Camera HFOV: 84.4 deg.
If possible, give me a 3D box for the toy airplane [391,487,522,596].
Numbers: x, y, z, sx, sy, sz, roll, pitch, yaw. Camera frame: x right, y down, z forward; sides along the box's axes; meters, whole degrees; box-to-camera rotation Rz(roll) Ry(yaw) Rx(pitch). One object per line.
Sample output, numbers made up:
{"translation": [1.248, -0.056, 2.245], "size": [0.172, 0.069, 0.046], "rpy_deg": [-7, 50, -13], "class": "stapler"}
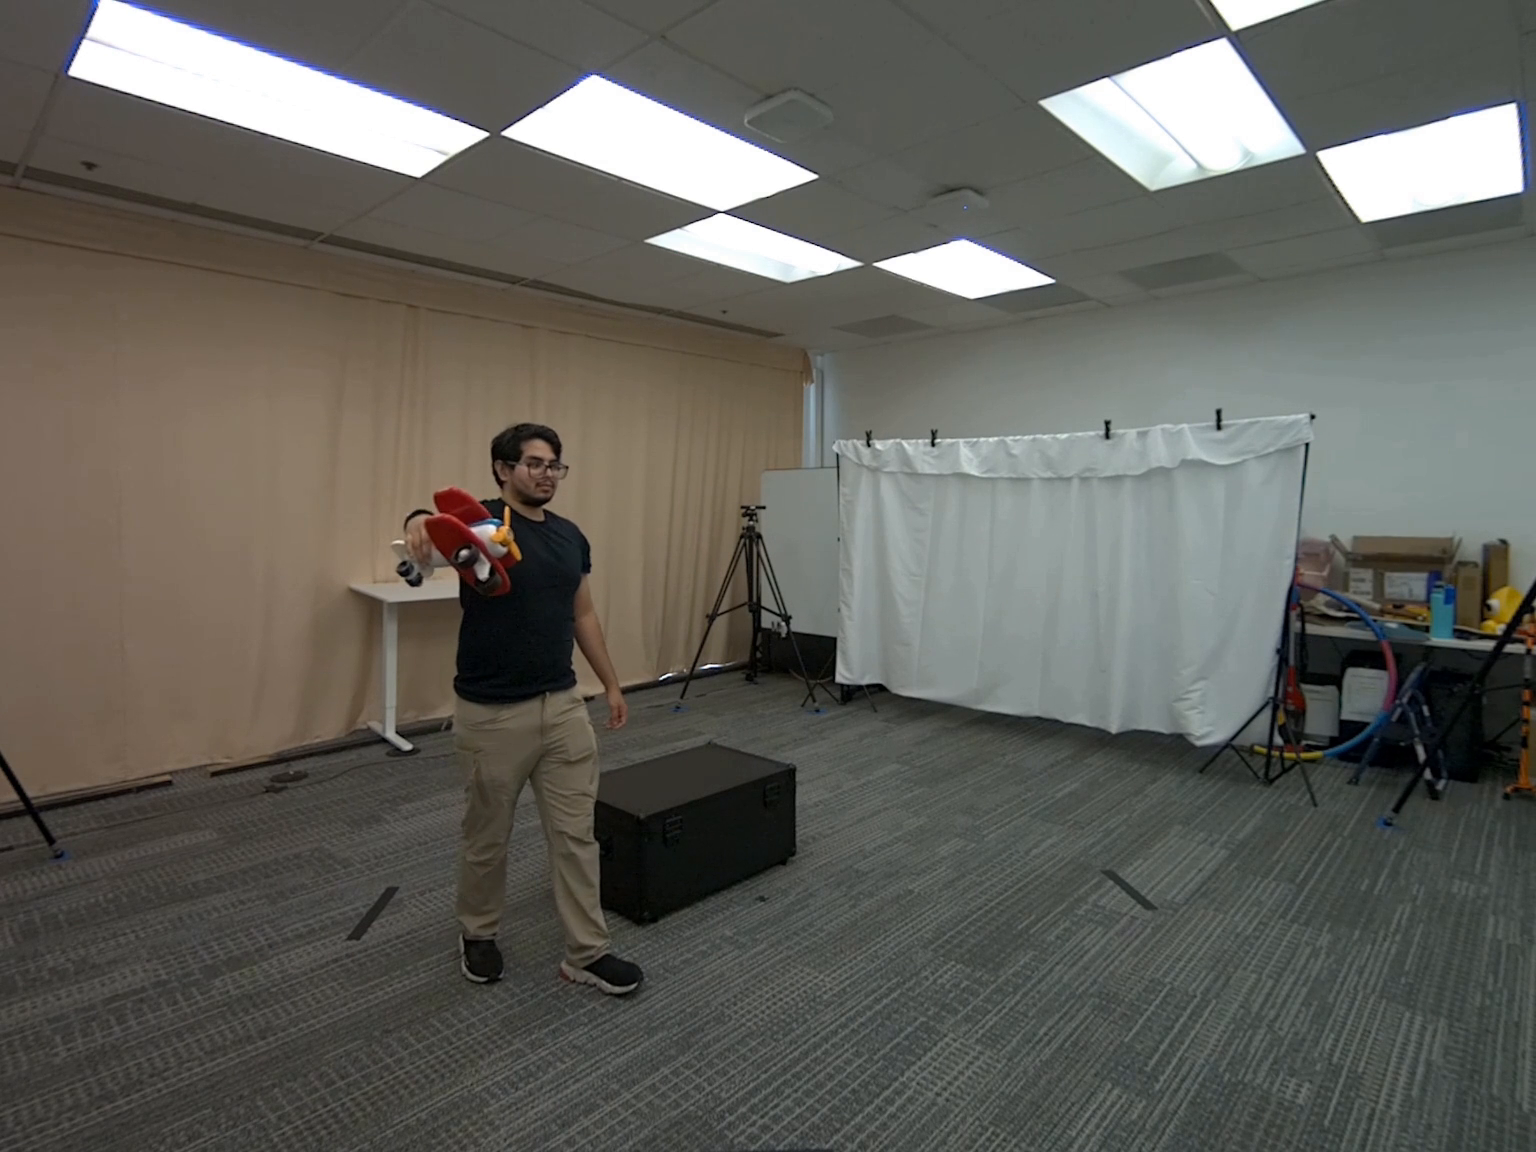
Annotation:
{"translation": [-0.670, -0.069, 1.762], "size": [0.259, 0.157, 0.249], "rpy_deg": [17, -37, 0], "class": "toy airplane"}
